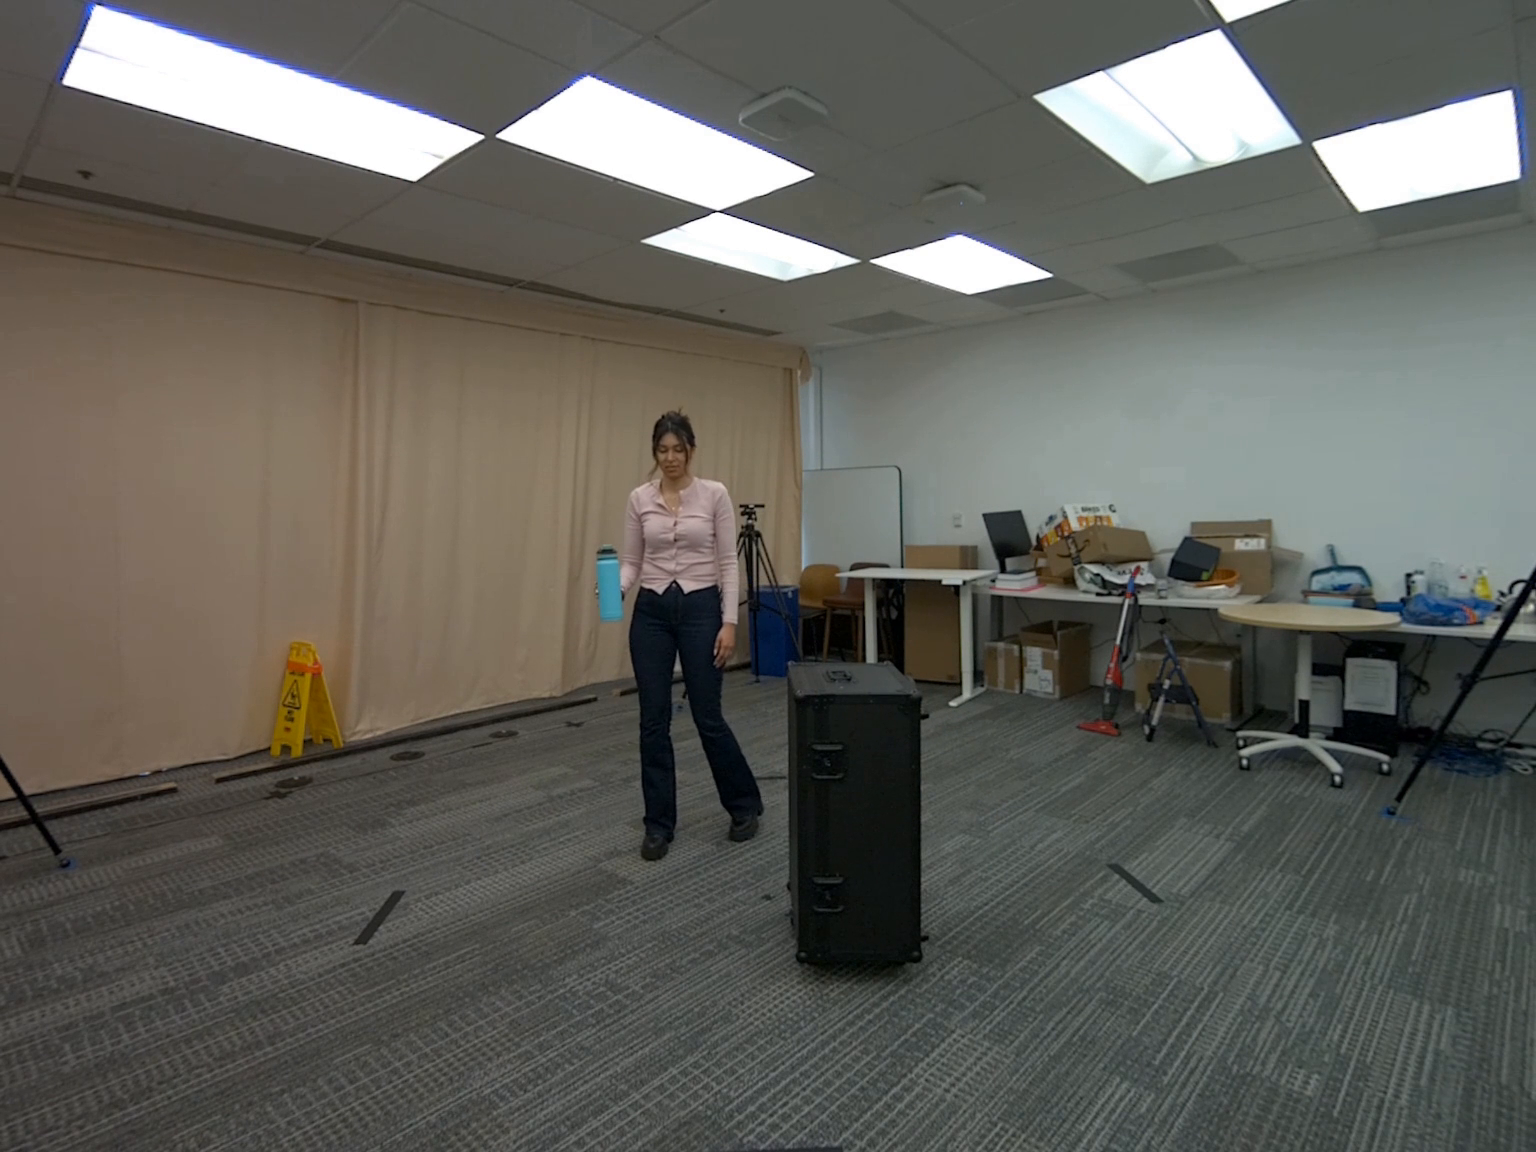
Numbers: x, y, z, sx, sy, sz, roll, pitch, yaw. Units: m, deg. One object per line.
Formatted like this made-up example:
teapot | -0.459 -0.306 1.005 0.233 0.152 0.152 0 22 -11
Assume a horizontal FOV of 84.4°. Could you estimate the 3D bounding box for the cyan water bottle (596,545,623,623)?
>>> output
cyan water bottle | -0.601 0.025 3.187 0.092 0.284 0.092 -4 -1 -2
